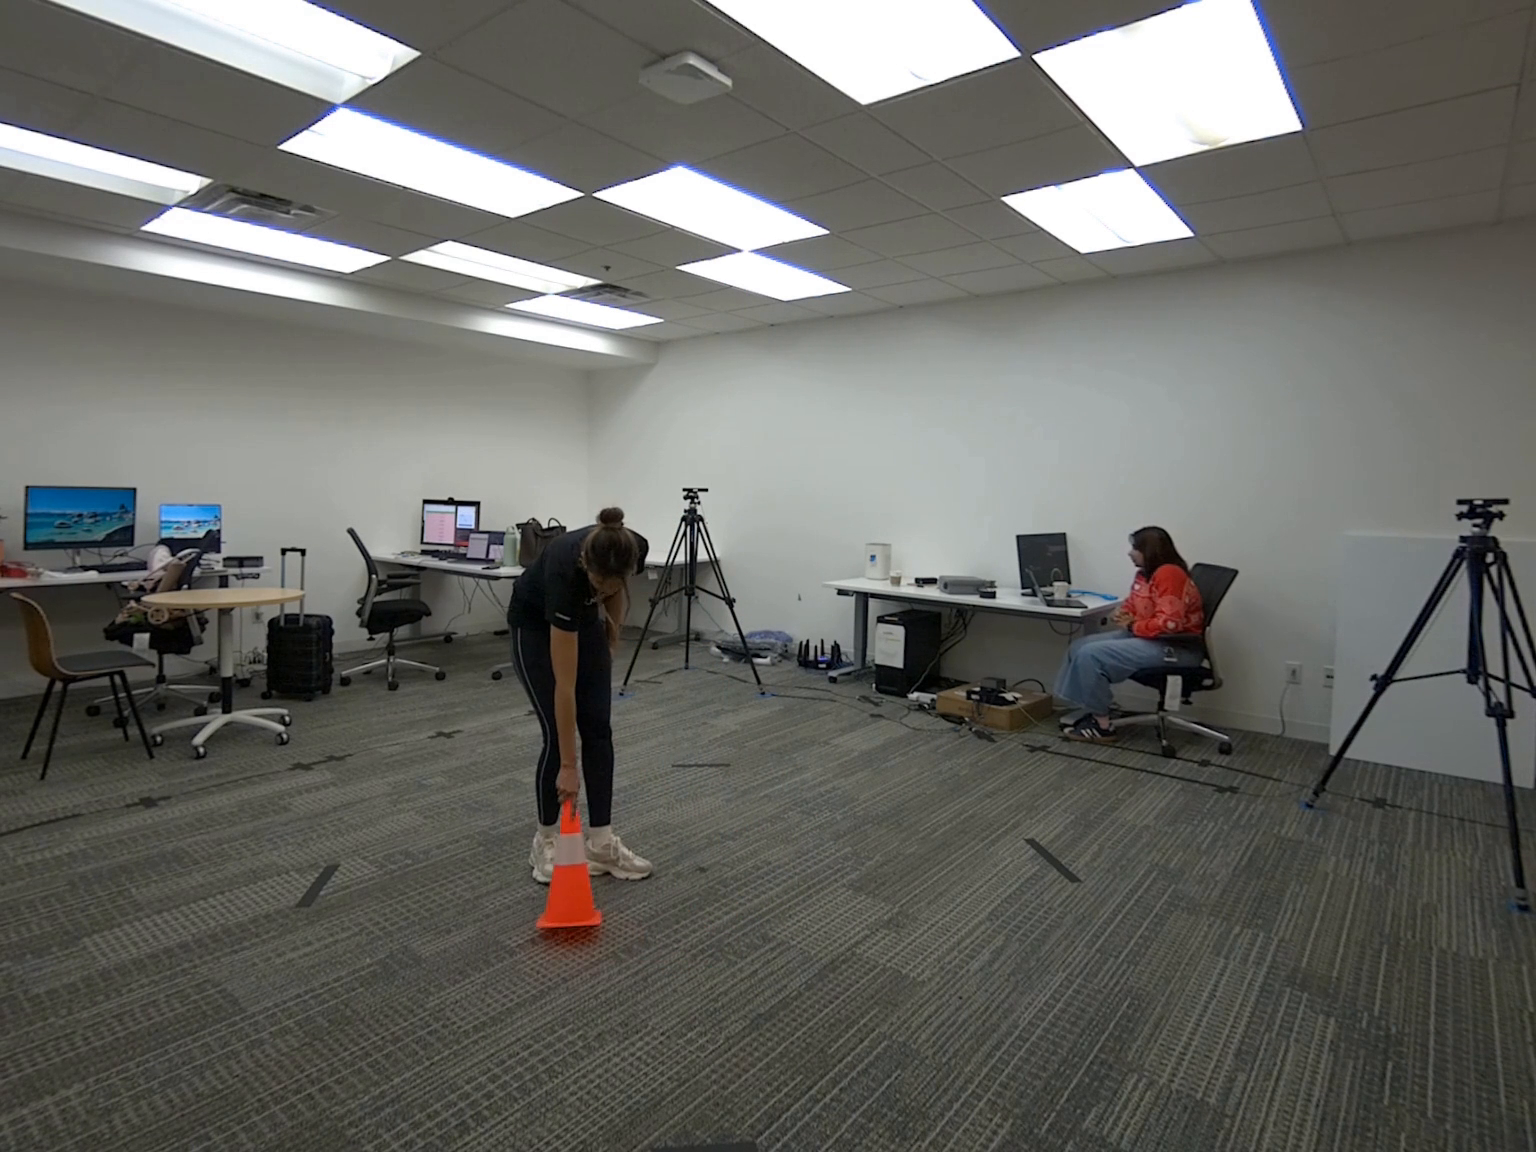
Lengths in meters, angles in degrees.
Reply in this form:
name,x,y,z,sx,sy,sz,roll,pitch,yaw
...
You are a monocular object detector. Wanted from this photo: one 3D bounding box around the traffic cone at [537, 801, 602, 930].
name,x,y,z,sx,sy,sz,roll,pitch,yaw
traffic cone,-0.651,0.892,2.713,0.201,0.388,0.205,2,-11,-13
